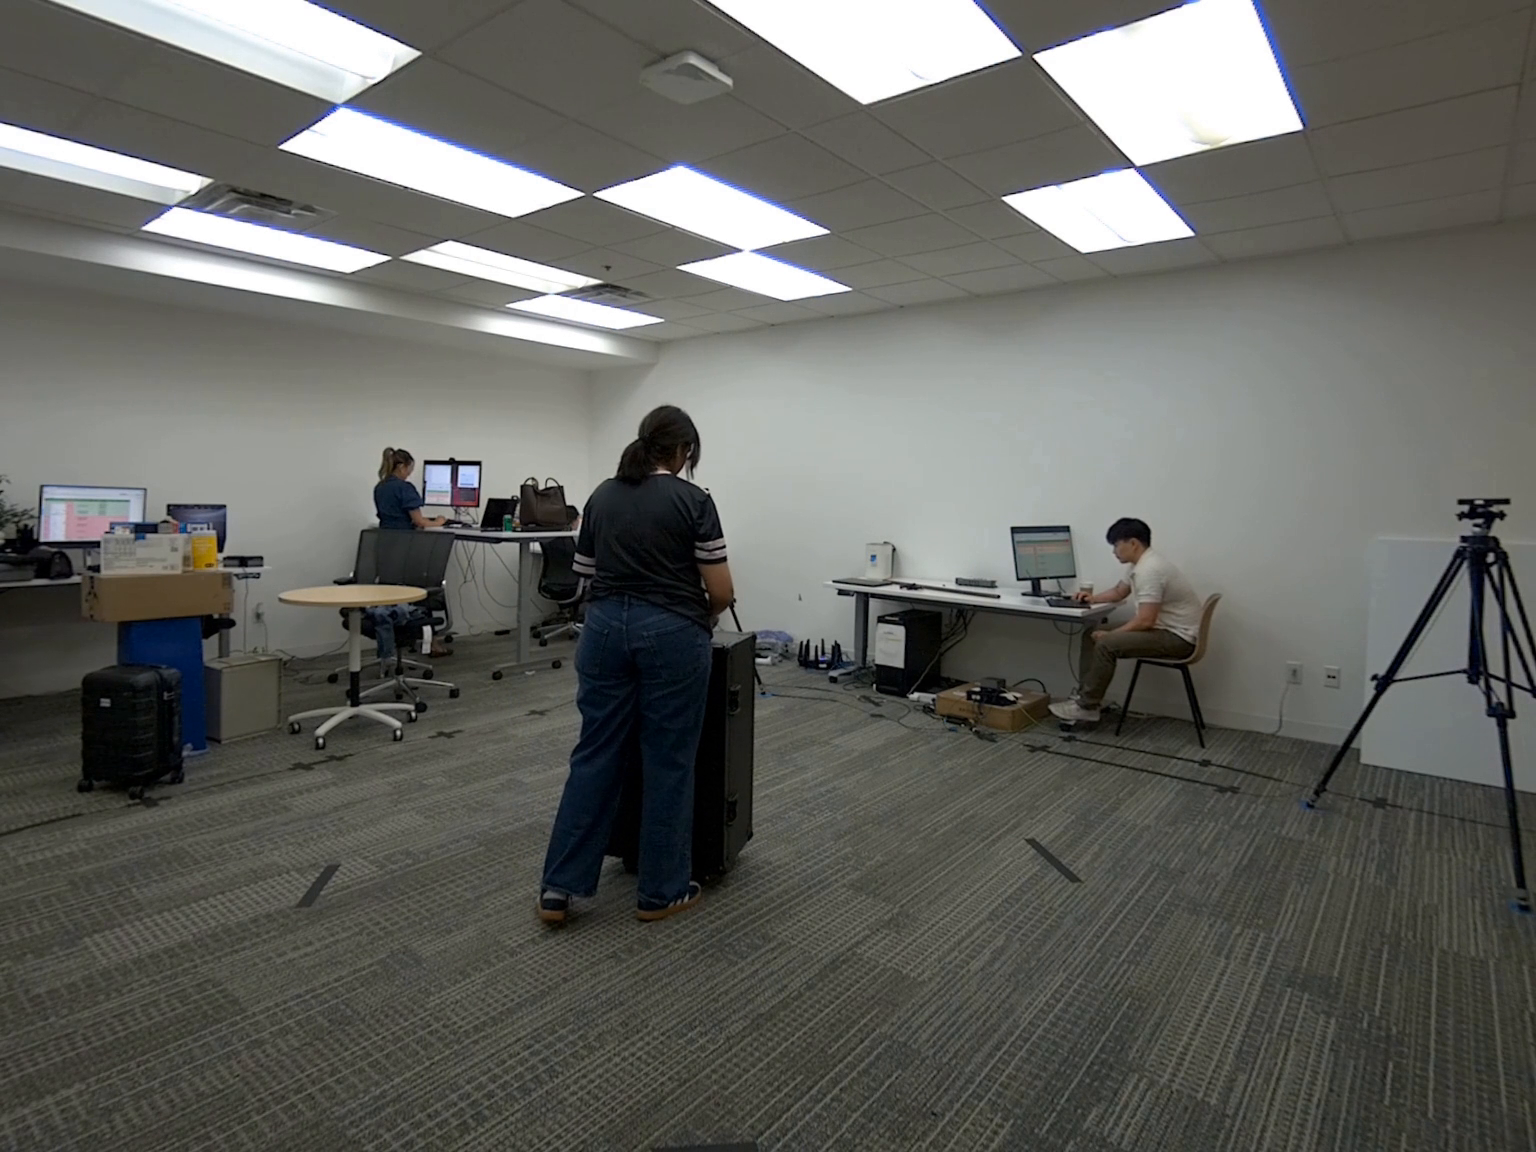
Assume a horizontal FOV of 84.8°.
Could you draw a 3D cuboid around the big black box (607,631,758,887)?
[{"bbox_3d":[-0.341,0.642,3.143,0.531,0.860,0.389,2,2,17],"label":"big black box"}]
